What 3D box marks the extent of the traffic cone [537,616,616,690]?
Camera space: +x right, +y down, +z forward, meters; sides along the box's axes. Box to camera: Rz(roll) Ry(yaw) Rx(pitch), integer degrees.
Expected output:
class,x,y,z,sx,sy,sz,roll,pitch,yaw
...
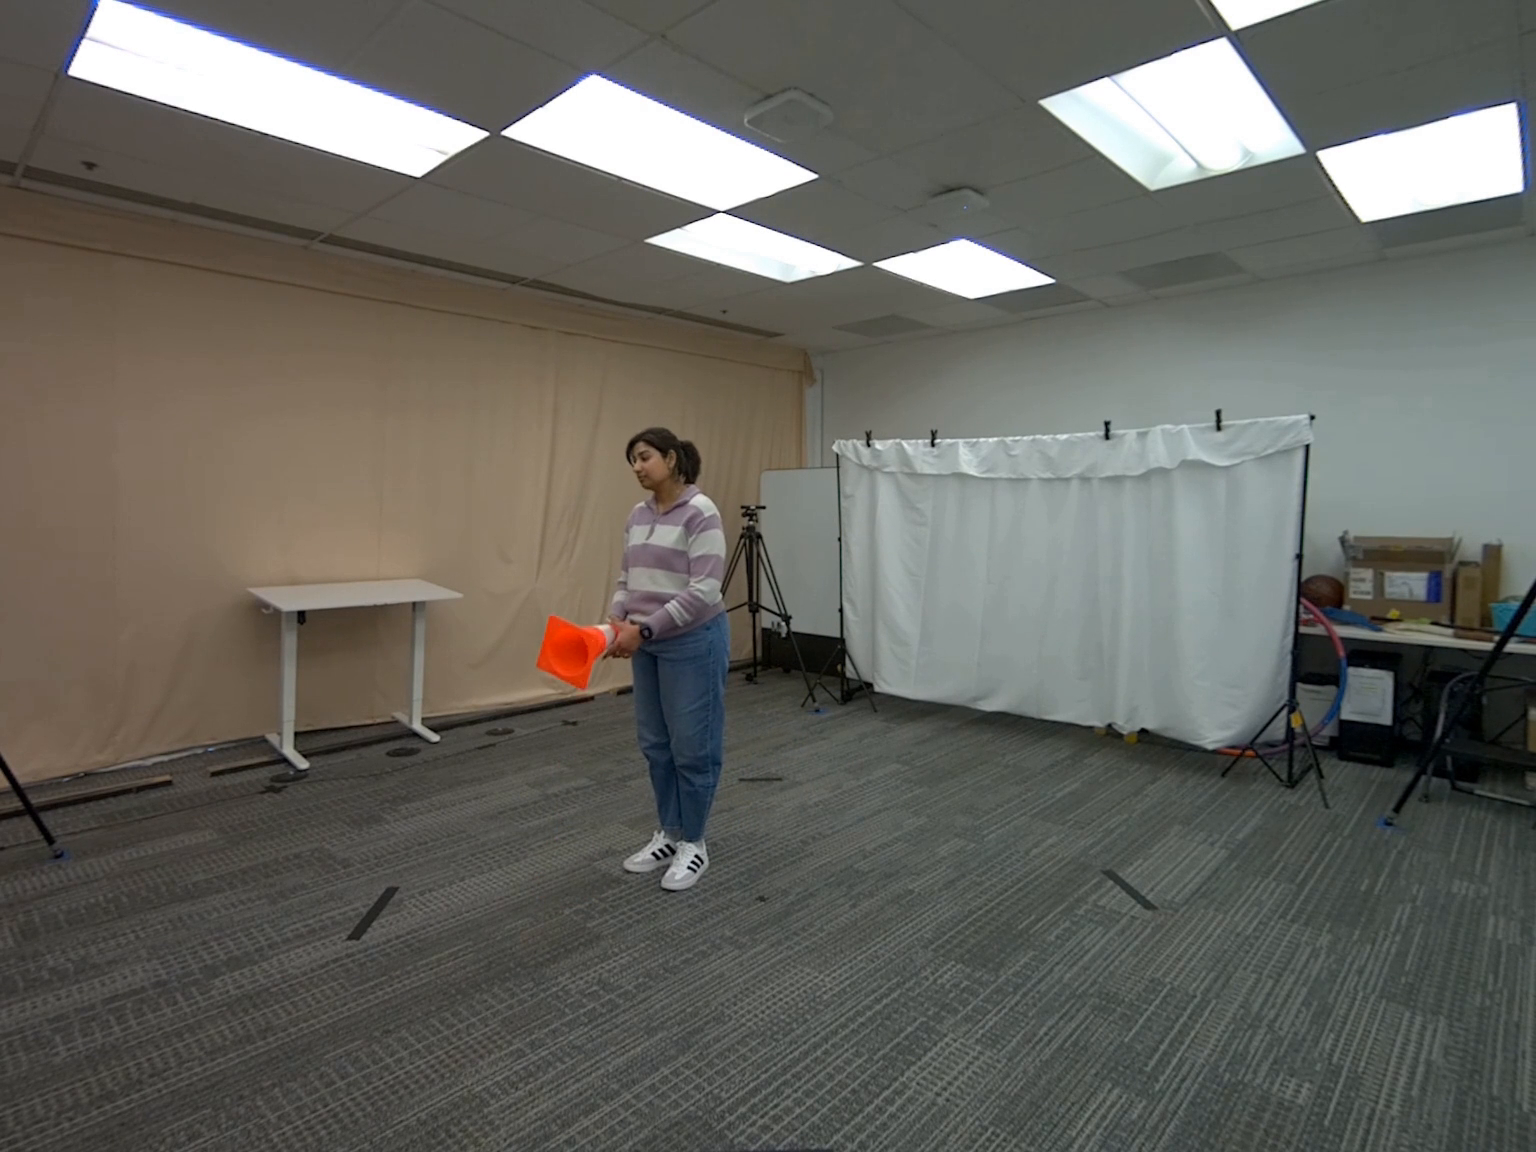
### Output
class,x,y,z,sx,sy,sz,roll,pitch,yaw
traffic cone,-0.583,0.226,2.932,0.209,0.203,0.377,25,15,16
